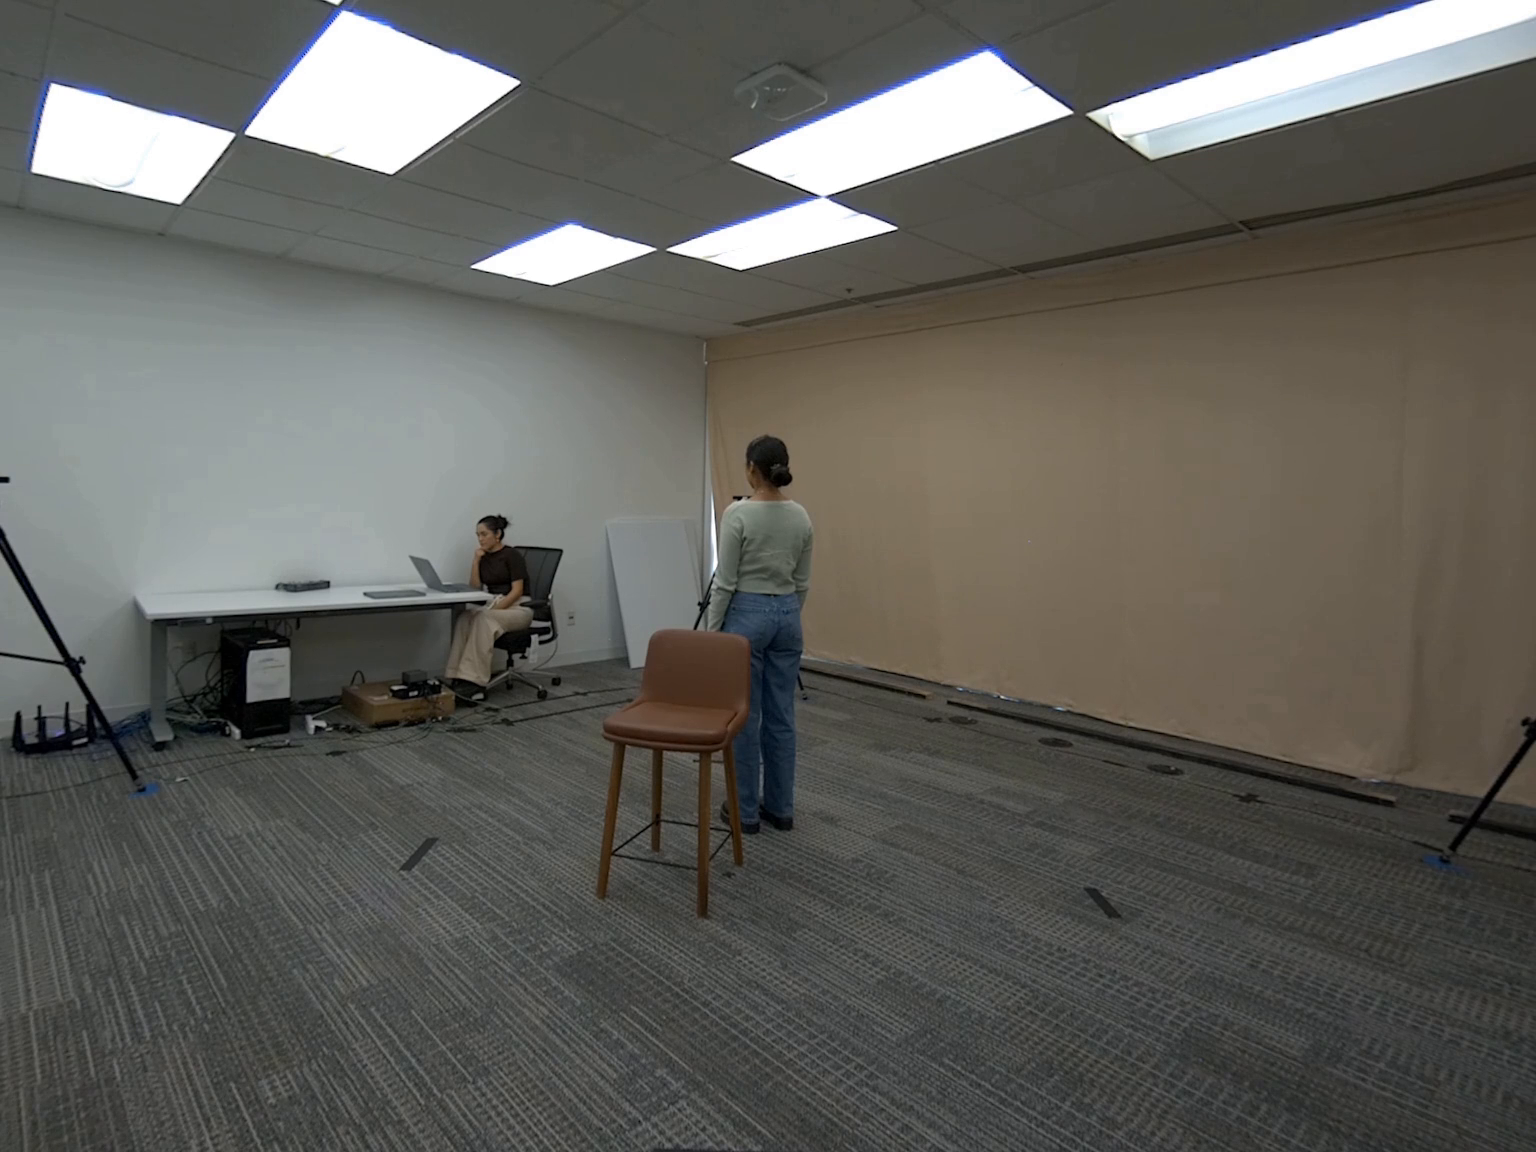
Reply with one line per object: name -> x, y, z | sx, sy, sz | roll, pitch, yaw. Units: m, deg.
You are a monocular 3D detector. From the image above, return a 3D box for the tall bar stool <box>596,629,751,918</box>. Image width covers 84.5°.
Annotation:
tall bar stool -> -0.328, 0.666, 3.035 | 0.464, 0.889, 0.460 | 3, 1, 19
